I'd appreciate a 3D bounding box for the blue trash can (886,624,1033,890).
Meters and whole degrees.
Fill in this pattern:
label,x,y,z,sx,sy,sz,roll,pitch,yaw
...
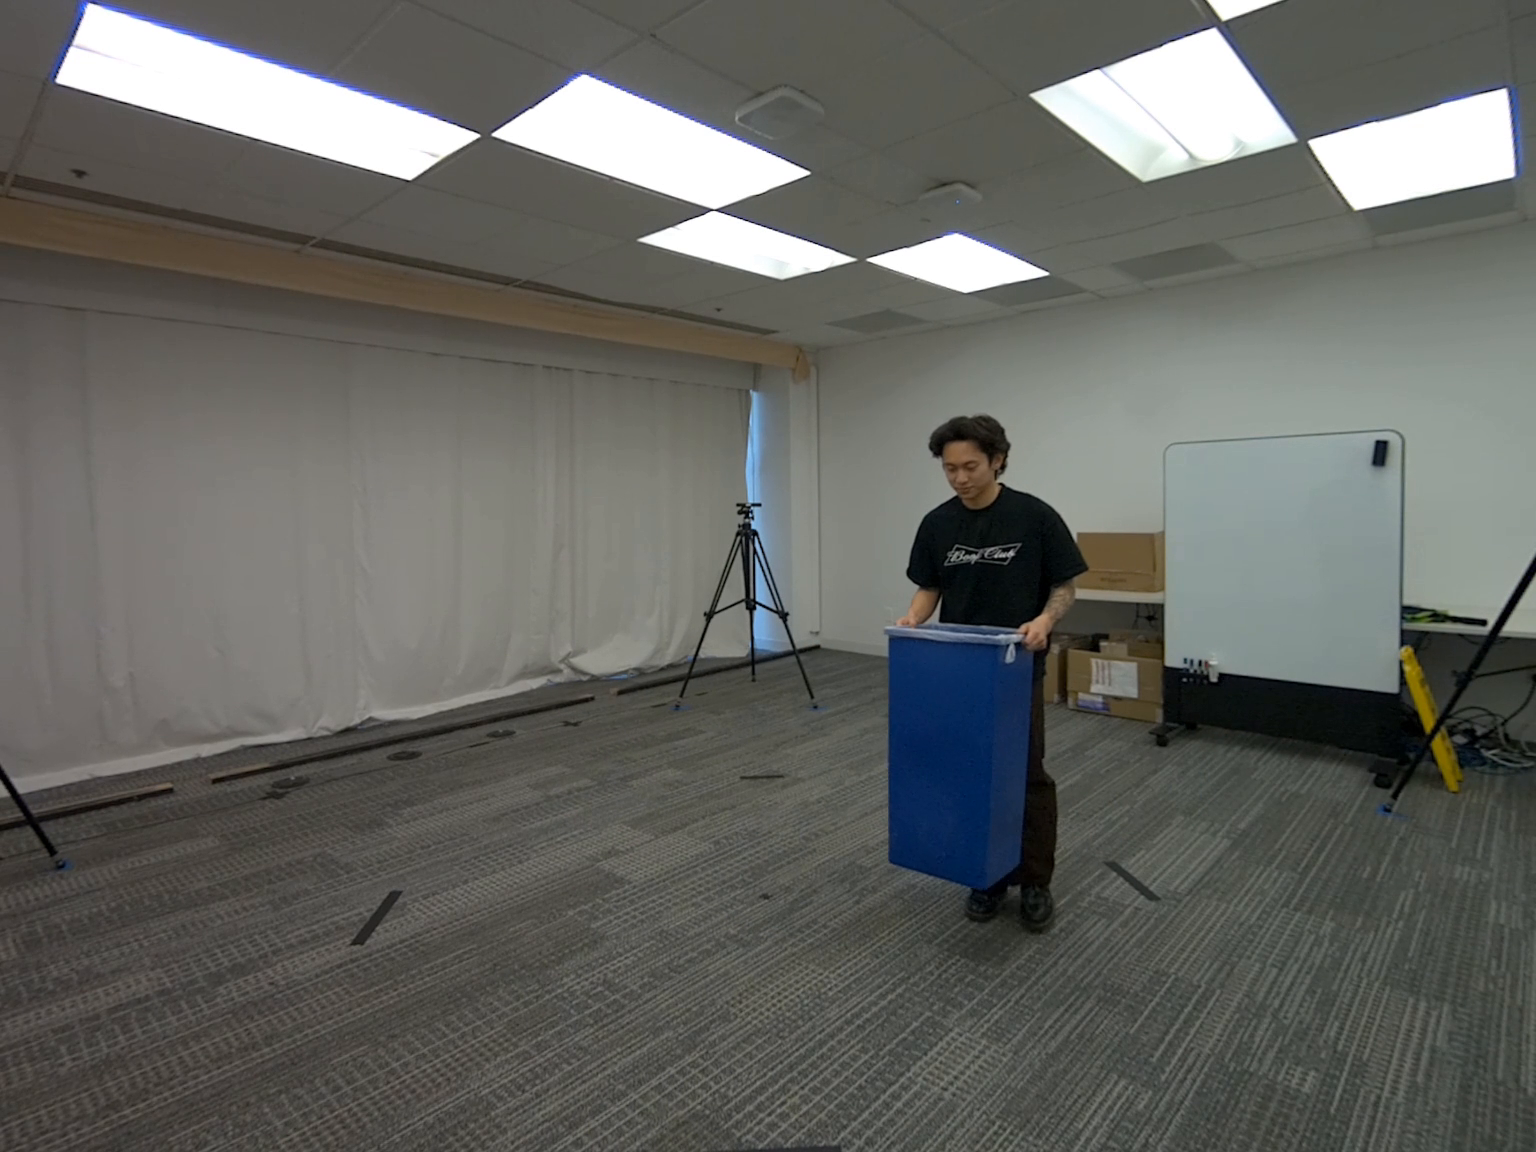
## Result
label,x,y,z,sx,sy,sz,roll,pitch,yaw
blue trash can,0.582,0.526,2.564,0.386,0.713,0.366,2,0,36
